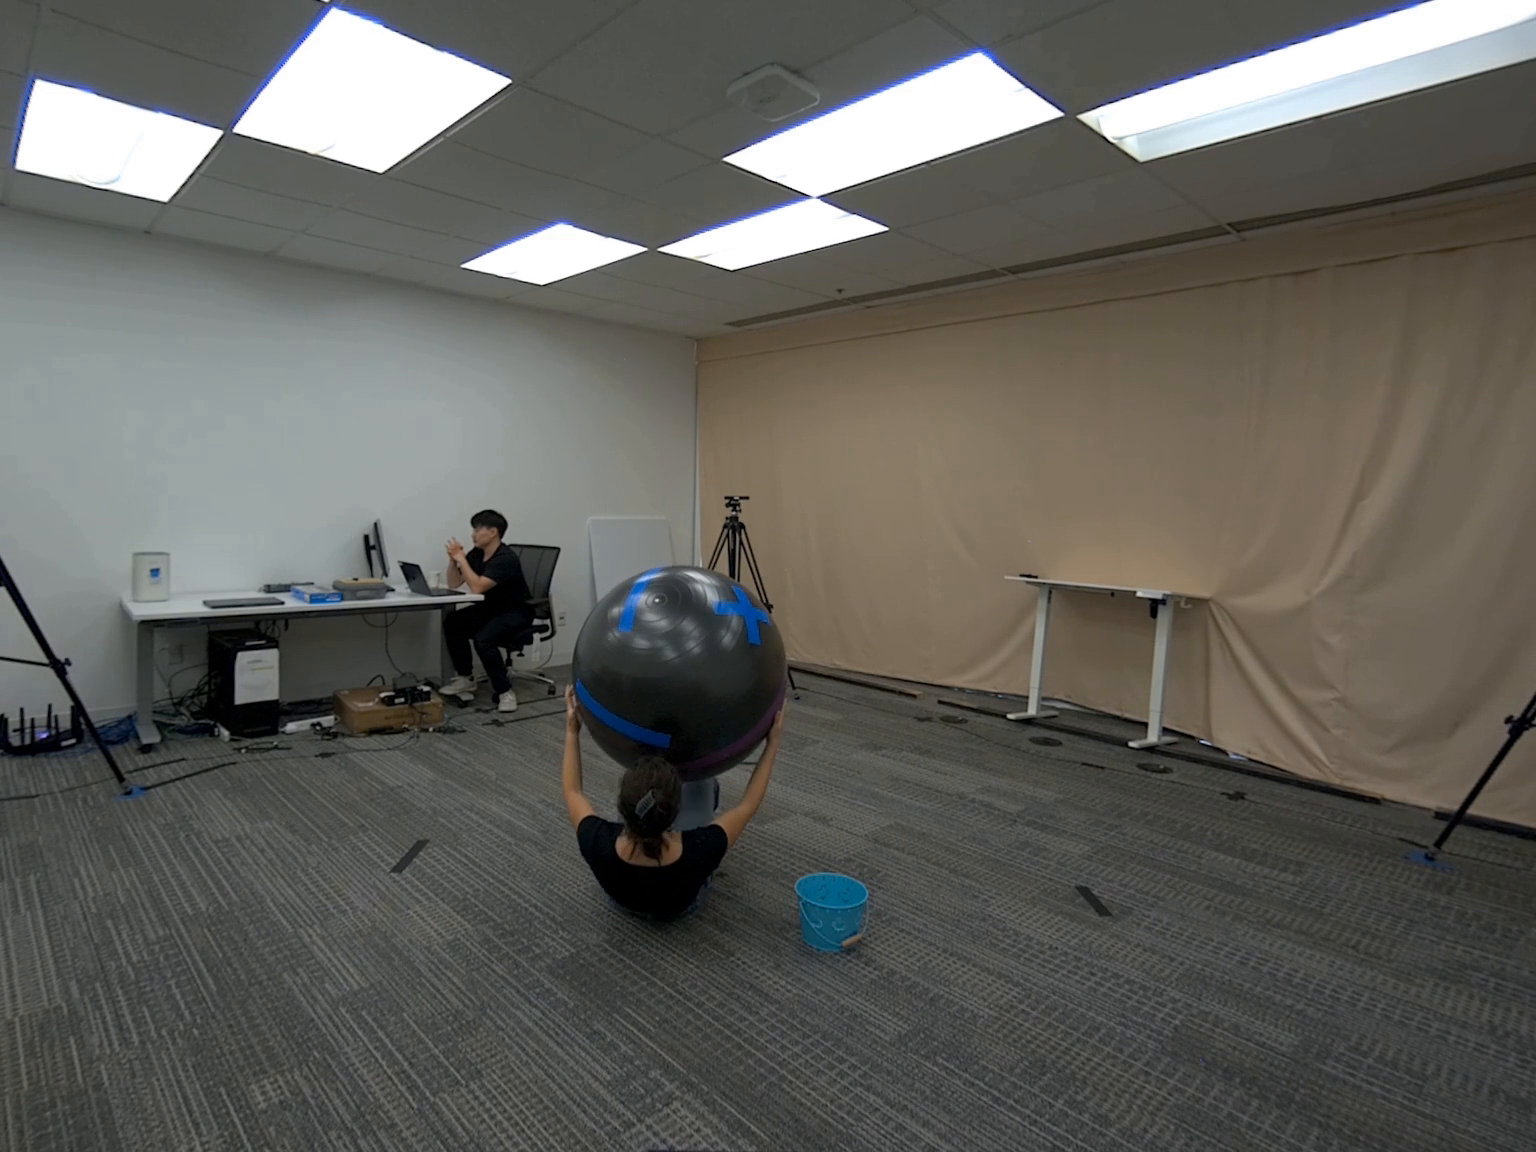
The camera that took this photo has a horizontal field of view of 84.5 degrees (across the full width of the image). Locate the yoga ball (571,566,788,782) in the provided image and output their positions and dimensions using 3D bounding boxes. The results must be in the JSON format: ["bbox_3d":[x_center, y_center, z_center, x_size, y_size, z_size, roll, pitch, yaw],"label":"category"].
[{"bbox_3d":[-0.323,0.350,2.984,0.757,0.756,0.761,1,4,-1],"label":"yoga ball"}]
